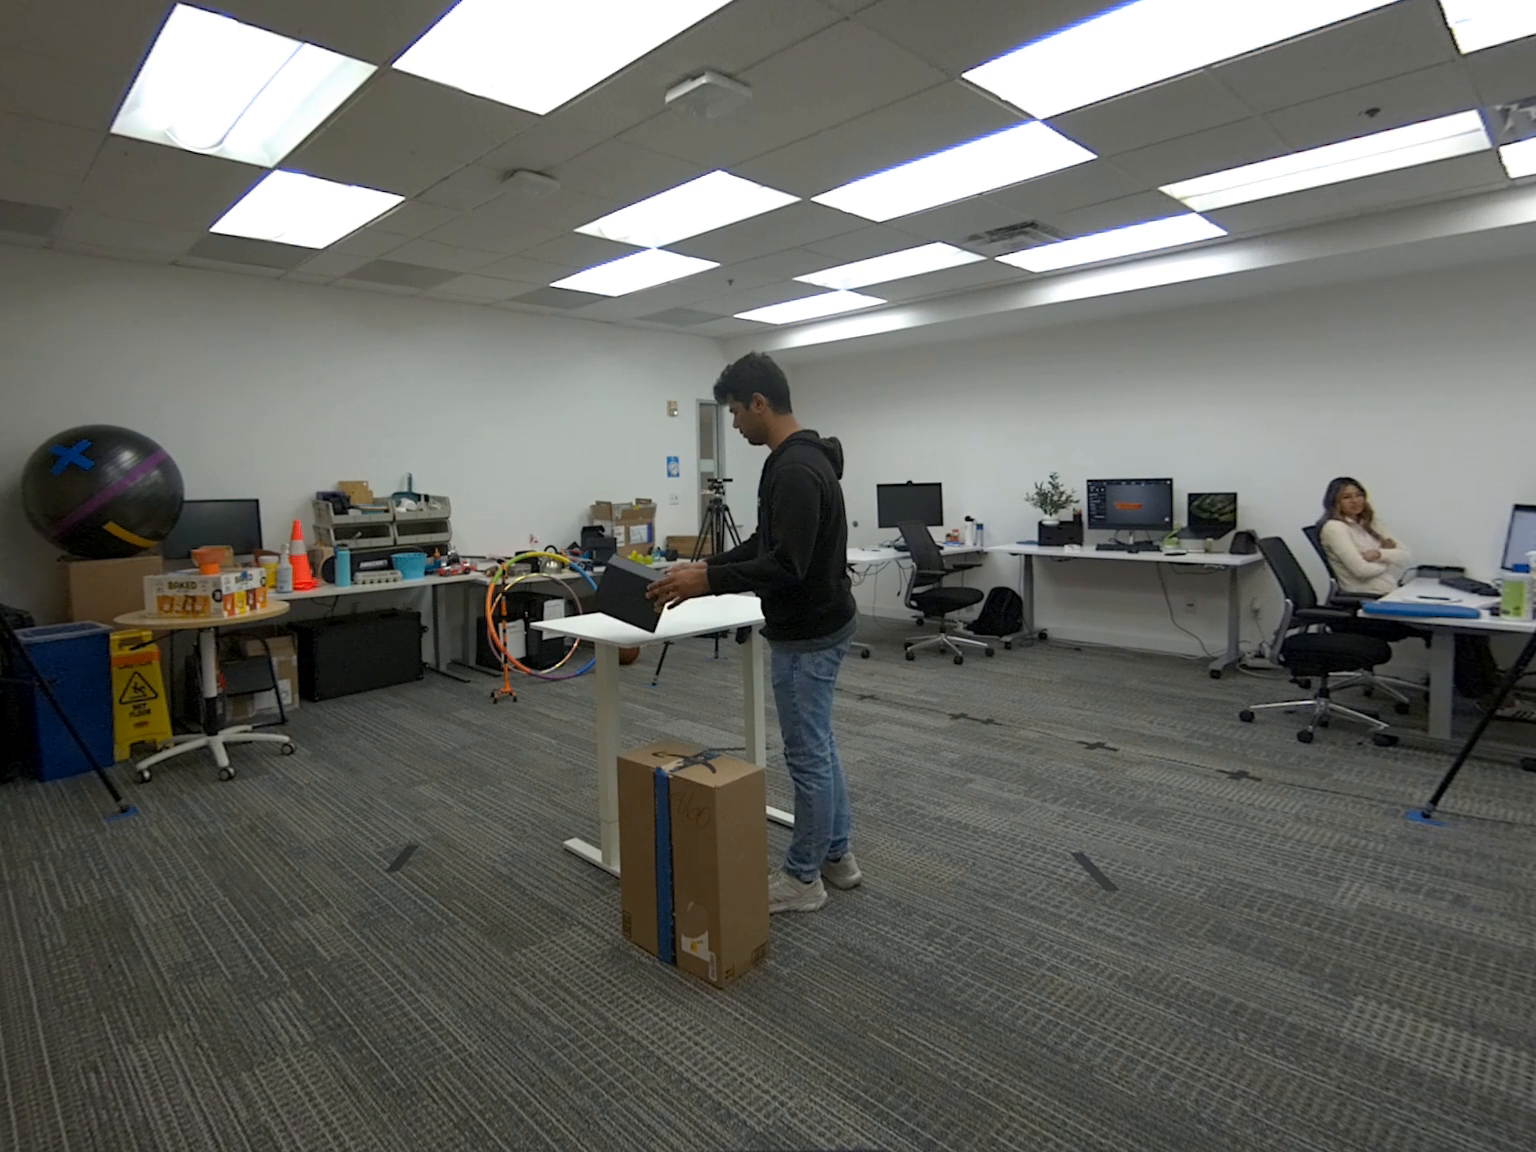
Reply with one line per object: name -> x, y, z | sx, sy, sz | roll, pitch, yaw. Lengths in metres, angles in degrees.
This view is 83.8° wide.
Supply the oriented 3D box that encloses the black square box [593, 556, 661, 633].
black square box -> -0.412, 0.058, 2.729 | 0.217, 0.155, 0.229 | 22, 6, -2
